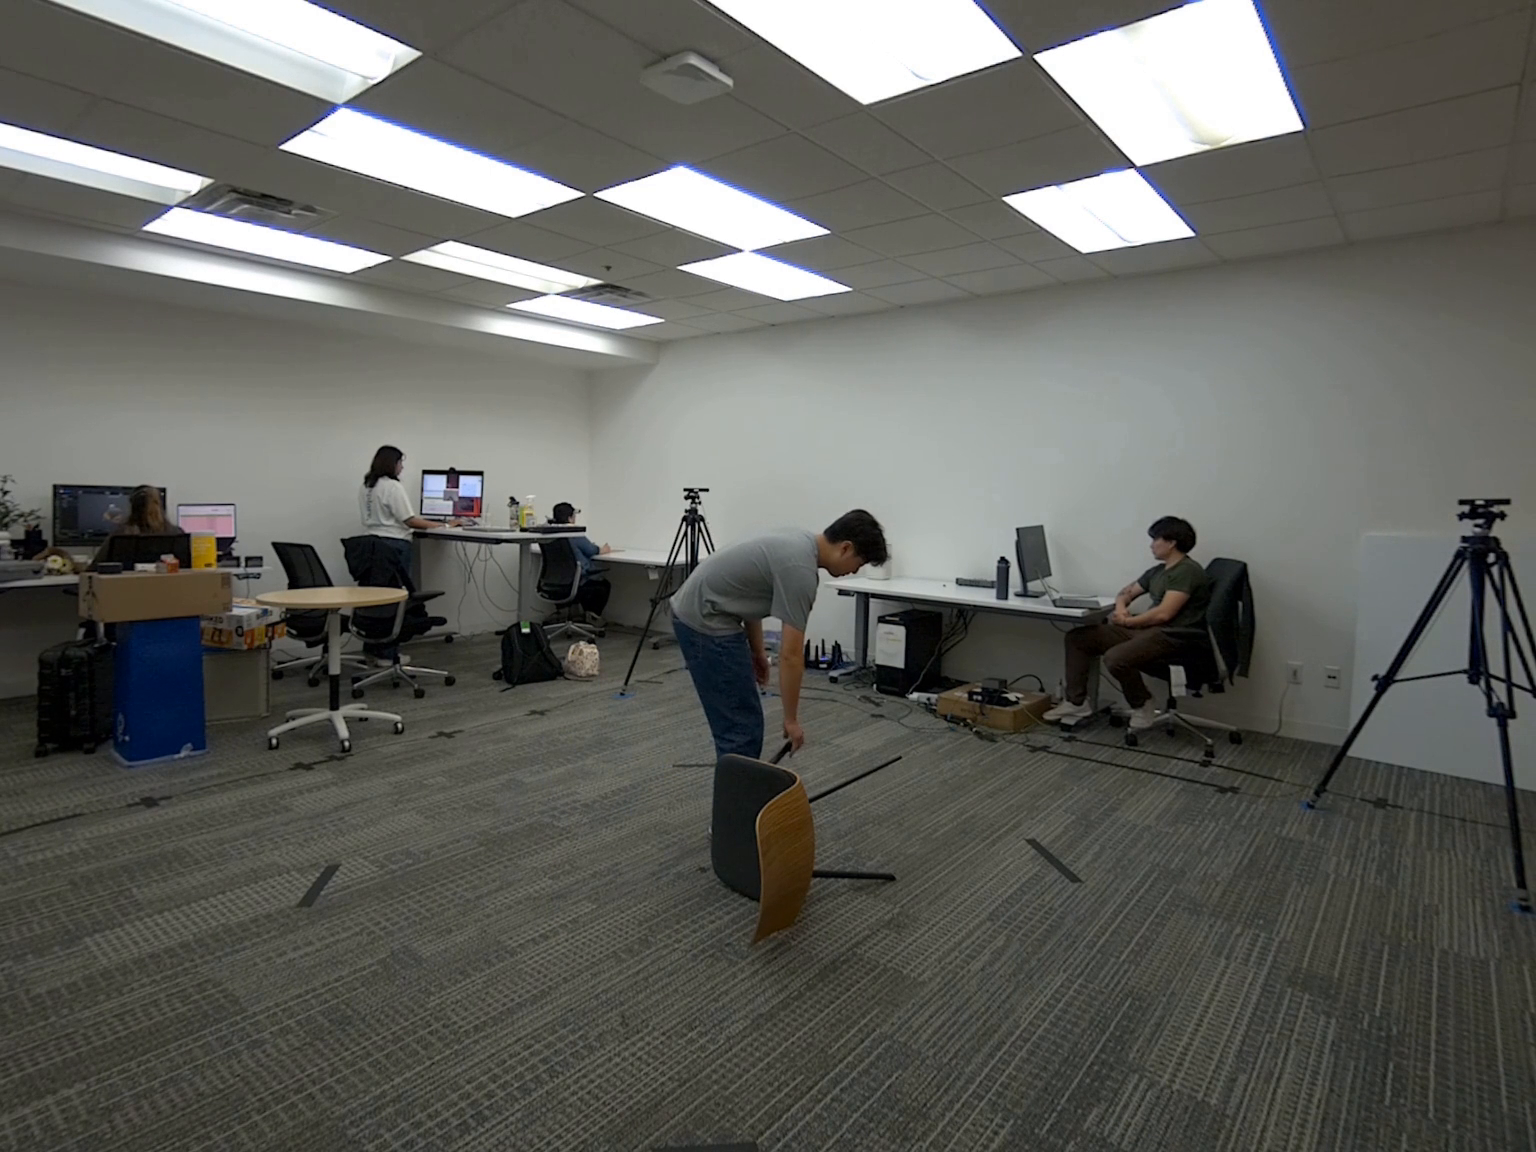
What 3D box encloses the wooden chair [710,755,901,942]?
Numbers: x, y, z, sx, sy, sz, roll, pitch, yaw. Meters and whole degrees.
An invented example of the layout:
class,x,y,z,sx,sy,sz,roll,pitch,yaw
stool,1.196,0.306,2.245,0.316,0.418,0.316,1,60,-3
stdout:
class,x,y,z,sx,sy,sz,roll,pitch,yaw
wooden chair,0.013,0.863,2.895,0.540,0.477,0.852,5,5,36
